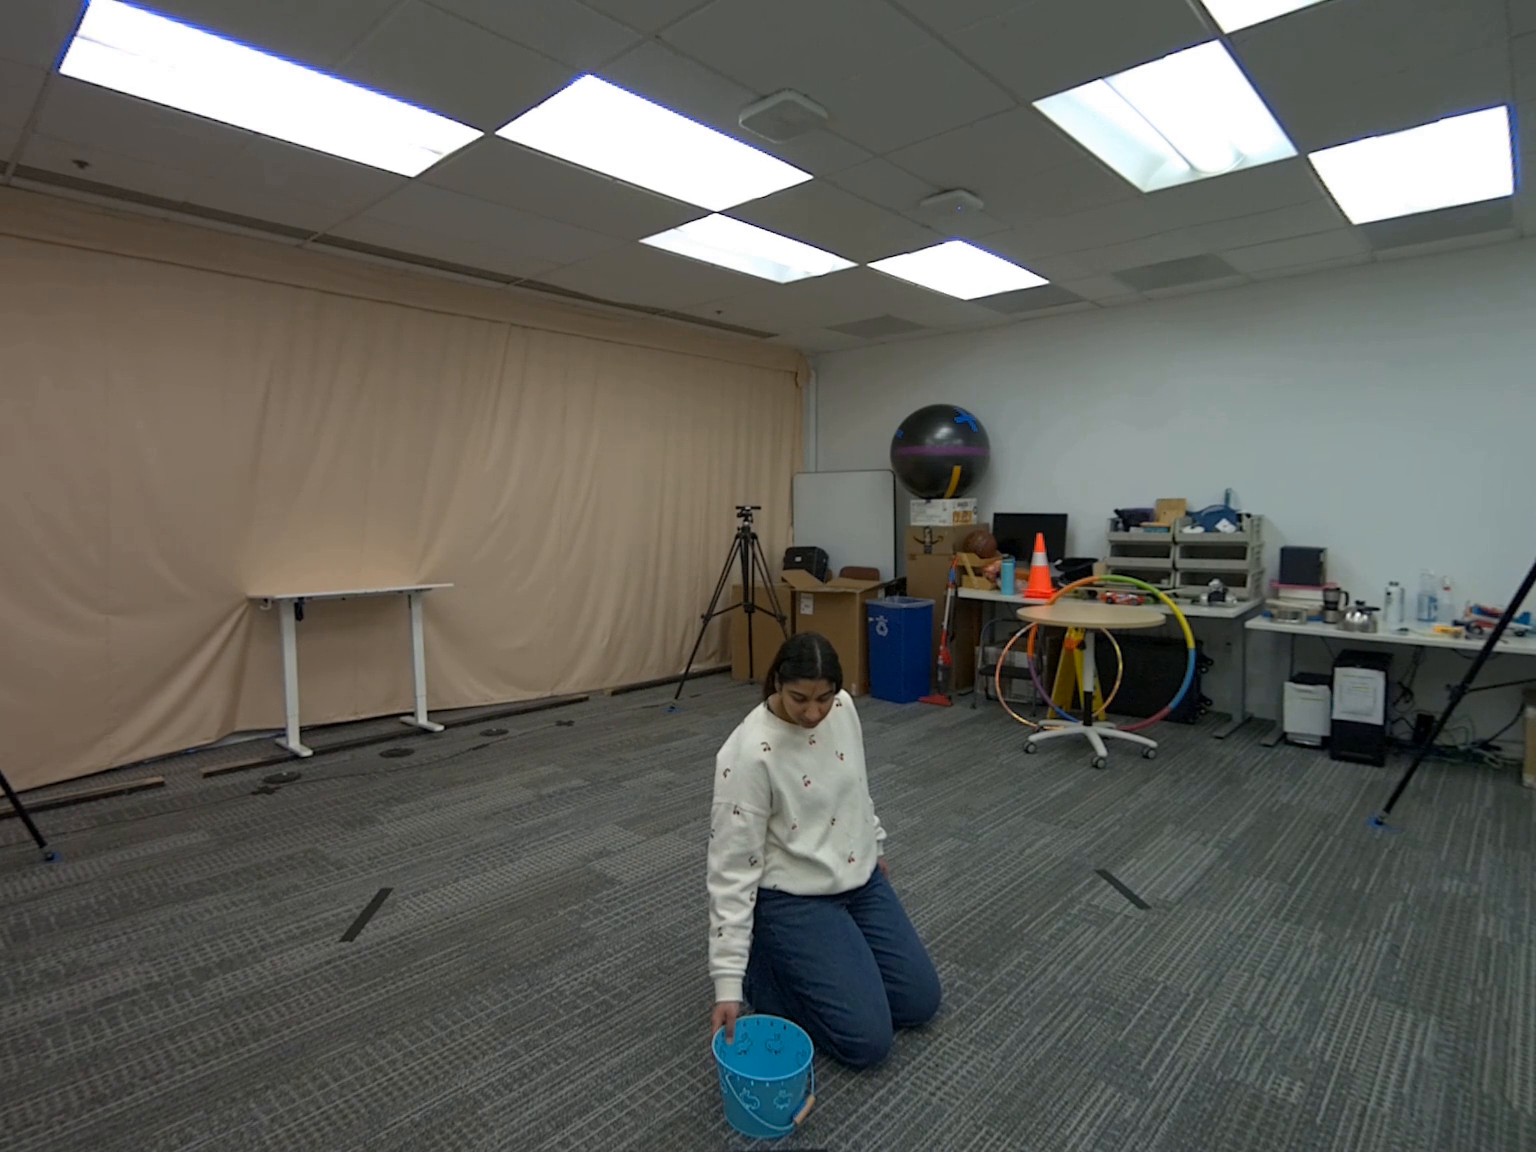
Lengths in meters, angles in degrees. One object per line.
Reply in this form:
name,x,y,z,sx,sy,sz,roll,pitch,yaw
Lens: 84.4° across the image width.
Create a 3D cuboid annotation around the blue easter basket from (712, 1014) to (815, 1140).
blue easter basket,-0.014,1.150,1.949,0.243,0.155,0.244,1,4,-2
